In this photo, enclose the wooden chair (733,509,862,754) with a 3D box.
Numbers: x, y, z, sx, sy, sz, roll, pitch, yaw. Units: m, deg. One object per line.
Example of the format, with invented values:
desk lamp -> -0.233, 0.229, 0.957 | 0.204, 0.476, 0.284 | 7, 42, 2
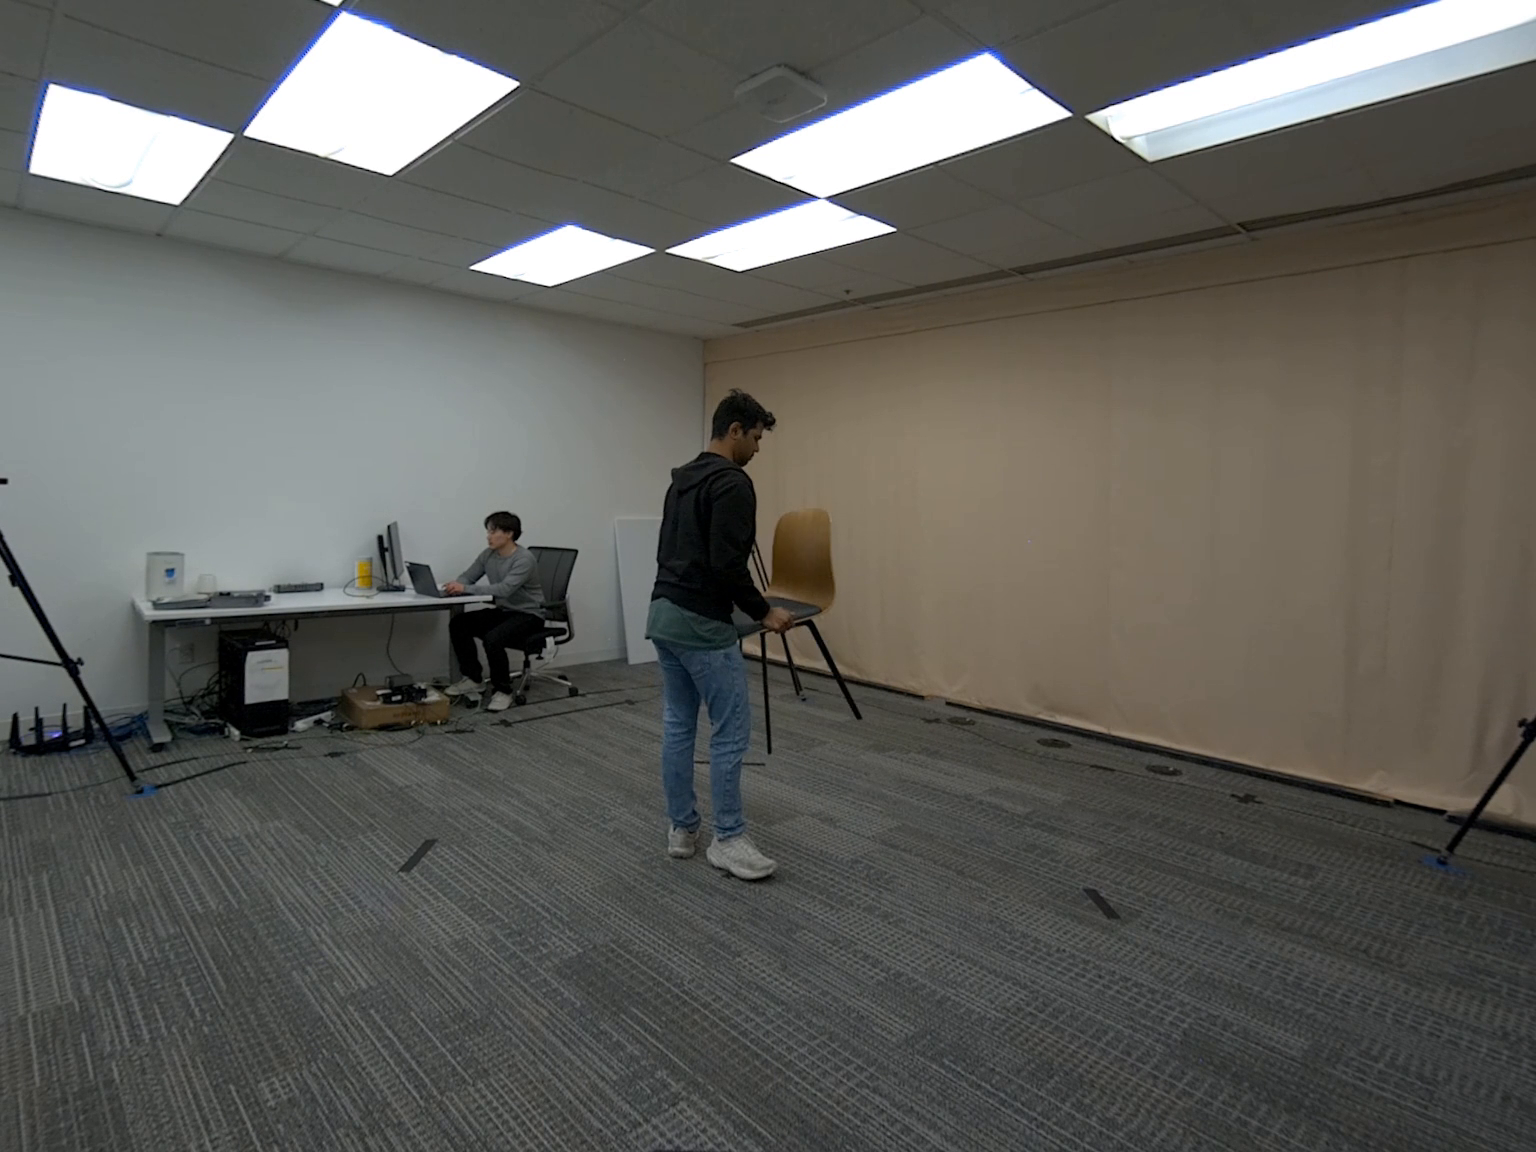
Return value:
wooden chair -> 0.002, 0.198, 3.387 | 0.514, 0.872, 0.489 | -8, 9, -31
